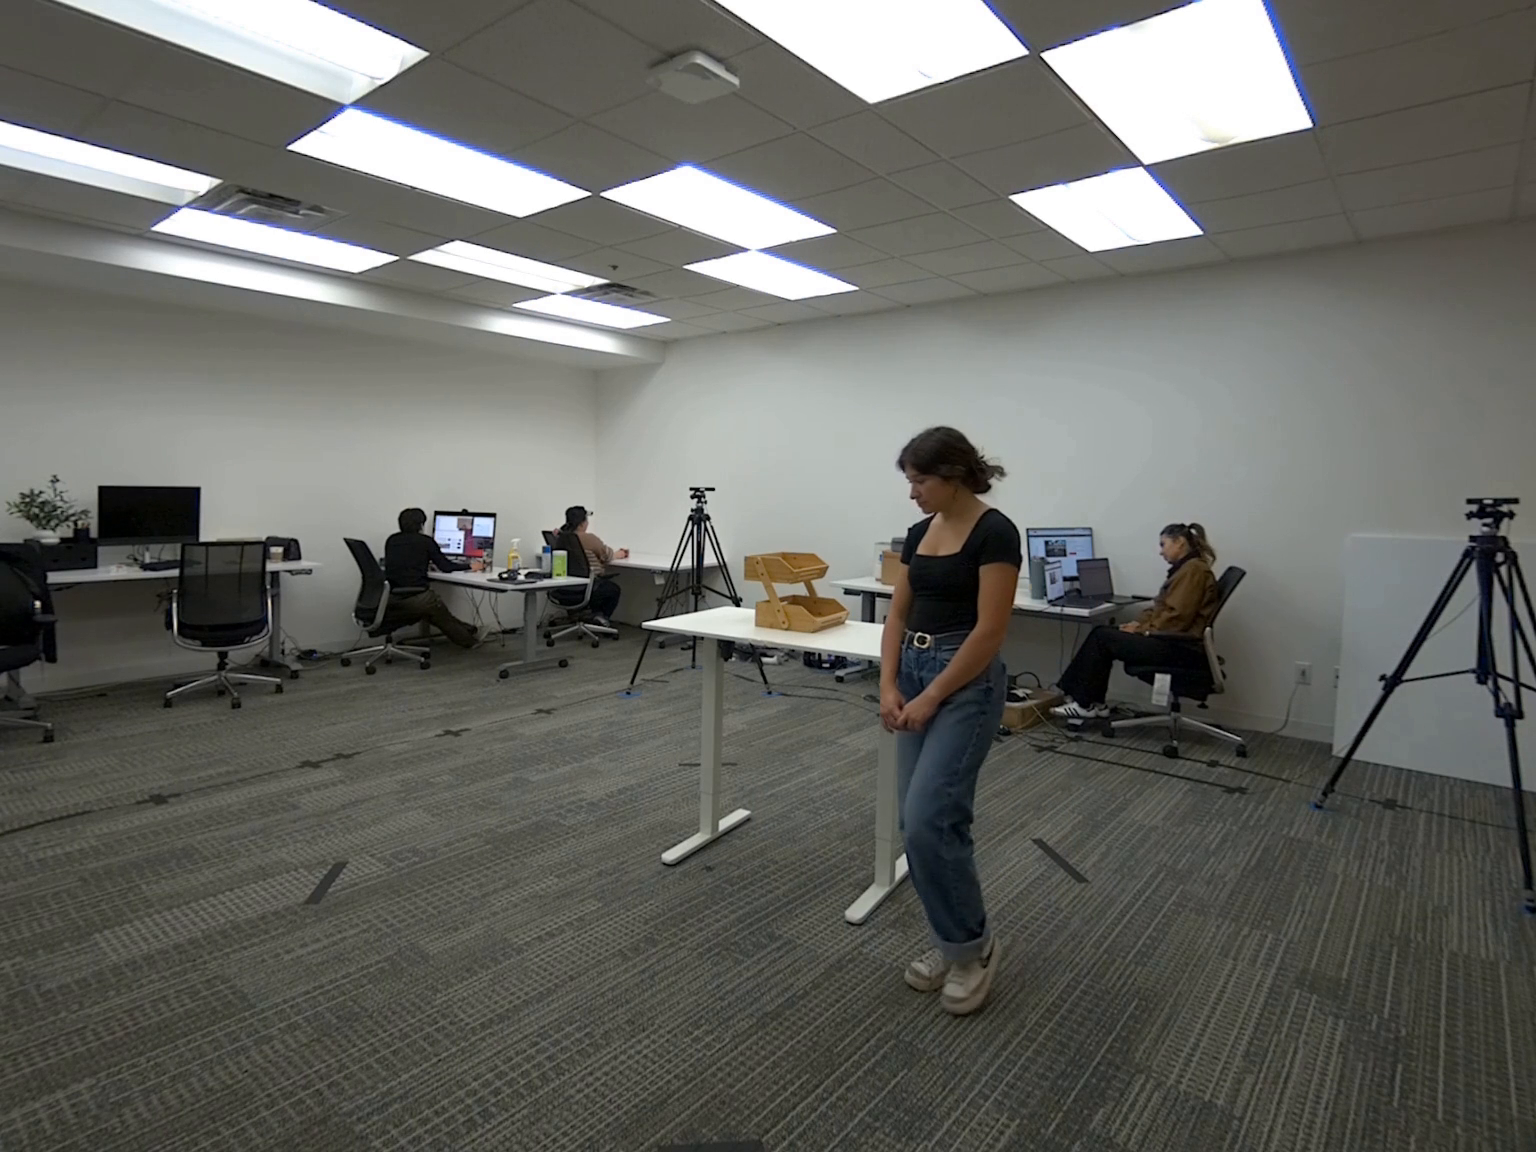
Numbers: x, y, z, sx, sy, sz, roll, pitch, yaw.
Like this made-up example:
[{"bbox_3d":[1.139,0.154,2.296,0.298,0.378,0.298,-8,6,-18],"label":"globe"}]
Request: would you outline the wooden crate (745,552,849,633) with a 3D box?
[{"bbox_3d":[0.108,0.047,3.214,0.311,0.272,0.316,3,5,29],"label":"wooden crate"}]
